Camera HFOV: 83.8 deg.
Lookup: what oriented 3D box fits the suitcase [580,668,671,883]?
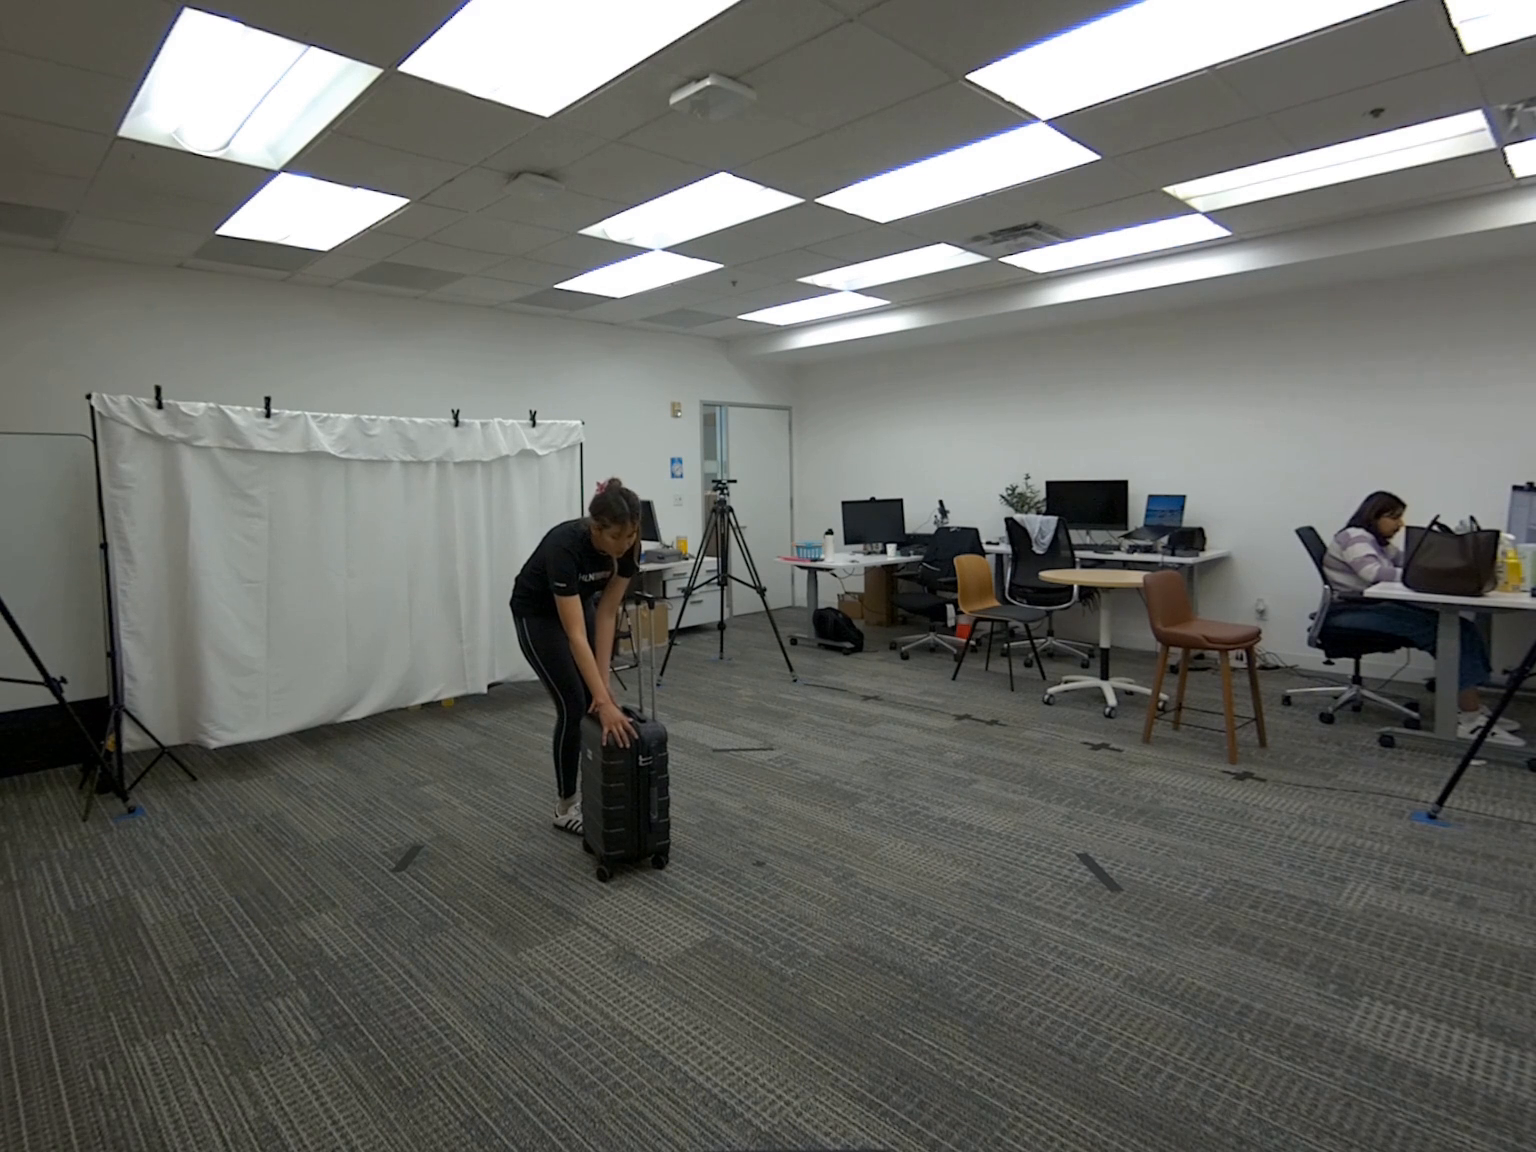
[{"bbox_3d":[-0.538,0.579,3.139,0.252,0.975,0.393,-3,4,-24],"label":"suitcase"}]
